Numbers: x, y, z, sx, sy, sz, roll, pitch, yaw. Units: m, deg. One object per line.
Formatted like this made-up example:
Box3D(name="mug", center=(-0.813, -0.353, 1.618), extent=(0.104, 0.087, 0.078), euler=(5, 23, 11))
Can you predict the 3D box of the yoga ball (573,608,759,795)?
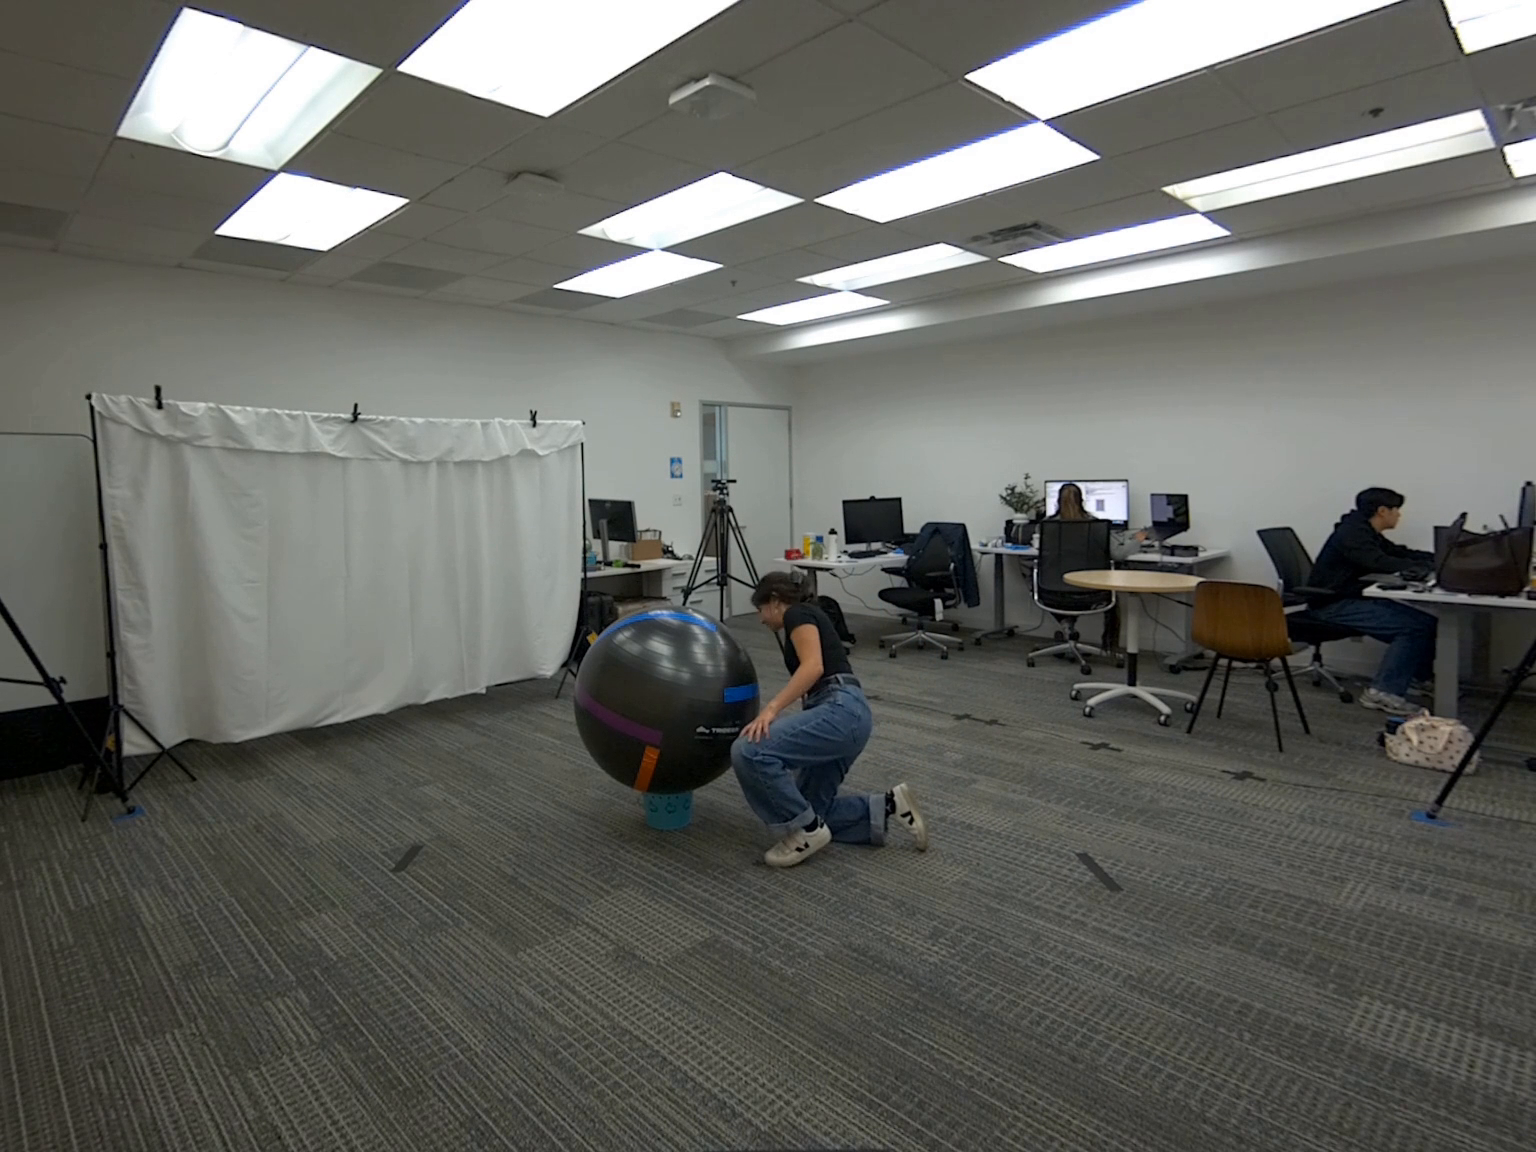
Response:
Box3D(name="yoga ball", center=(-0.411, 0.500, 3.496), extent=(0.757, 0.755, 0.762), euler=(-1, 5, -2))
